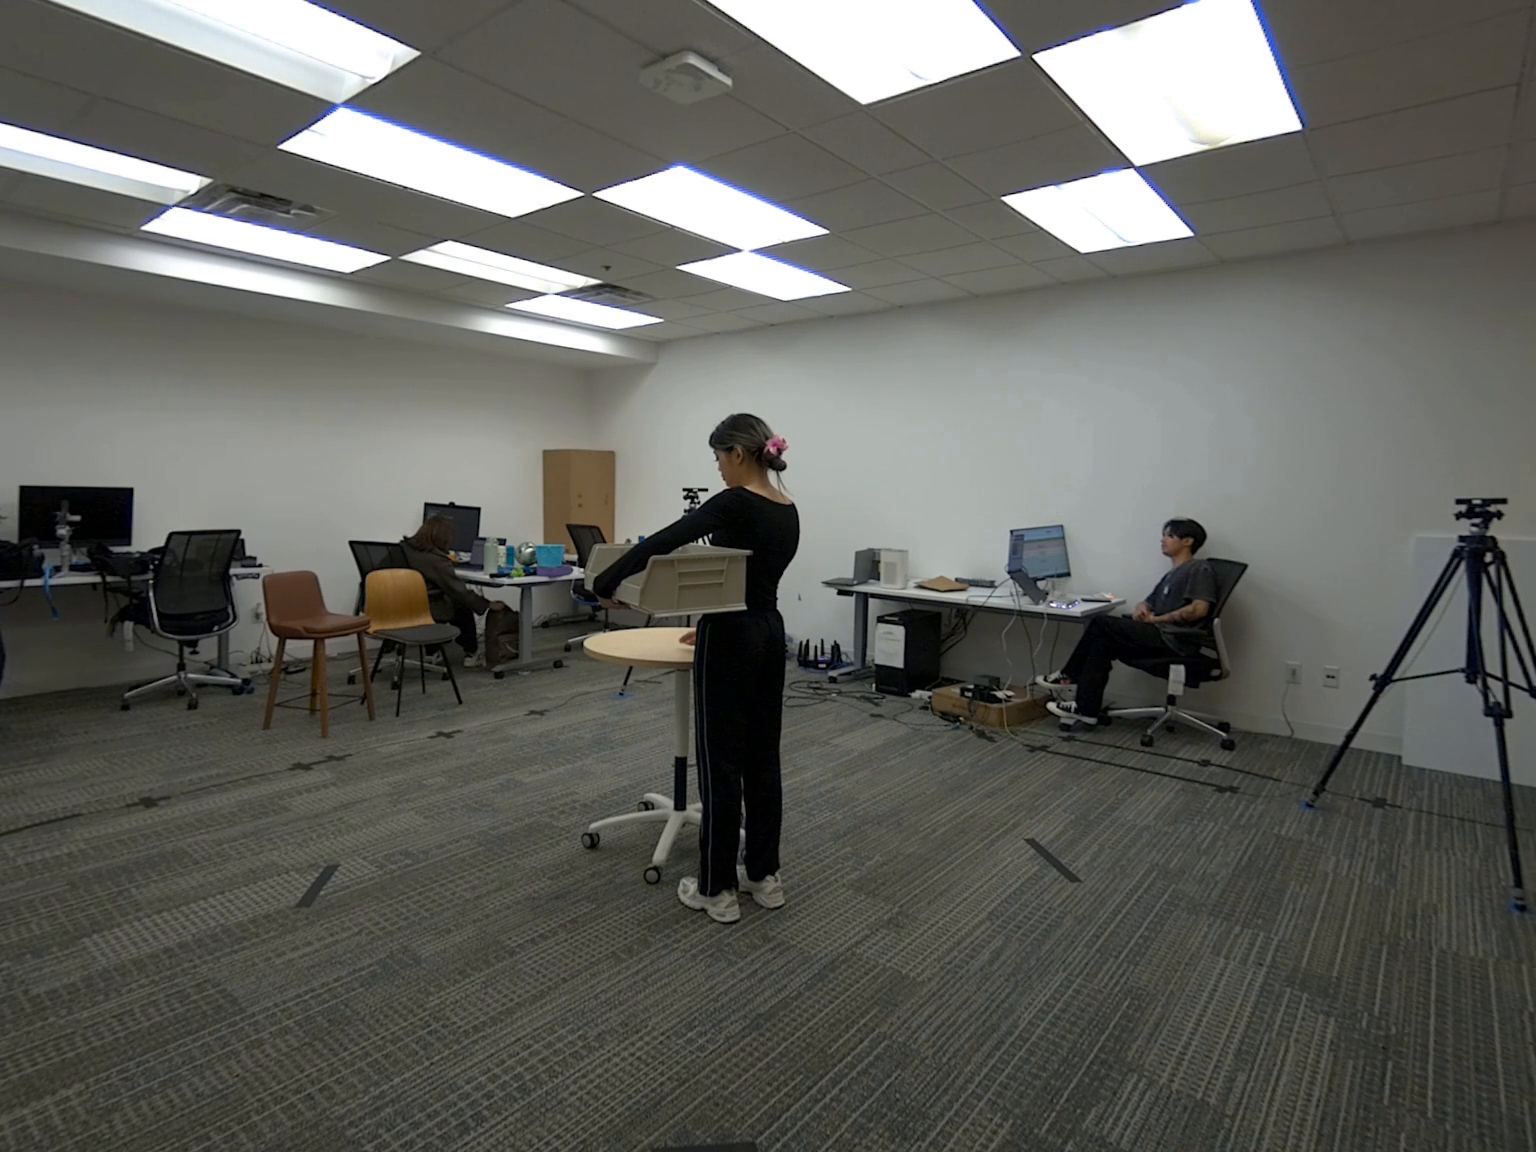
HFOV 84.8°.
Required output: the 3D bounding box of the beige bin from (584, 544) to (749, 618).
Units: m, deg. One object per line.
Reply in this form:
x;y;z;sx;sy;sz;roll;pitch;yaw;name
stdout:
-0.339;0.000;2.659;0.367;0.188;0.436;-2;6;-33;beige bin
